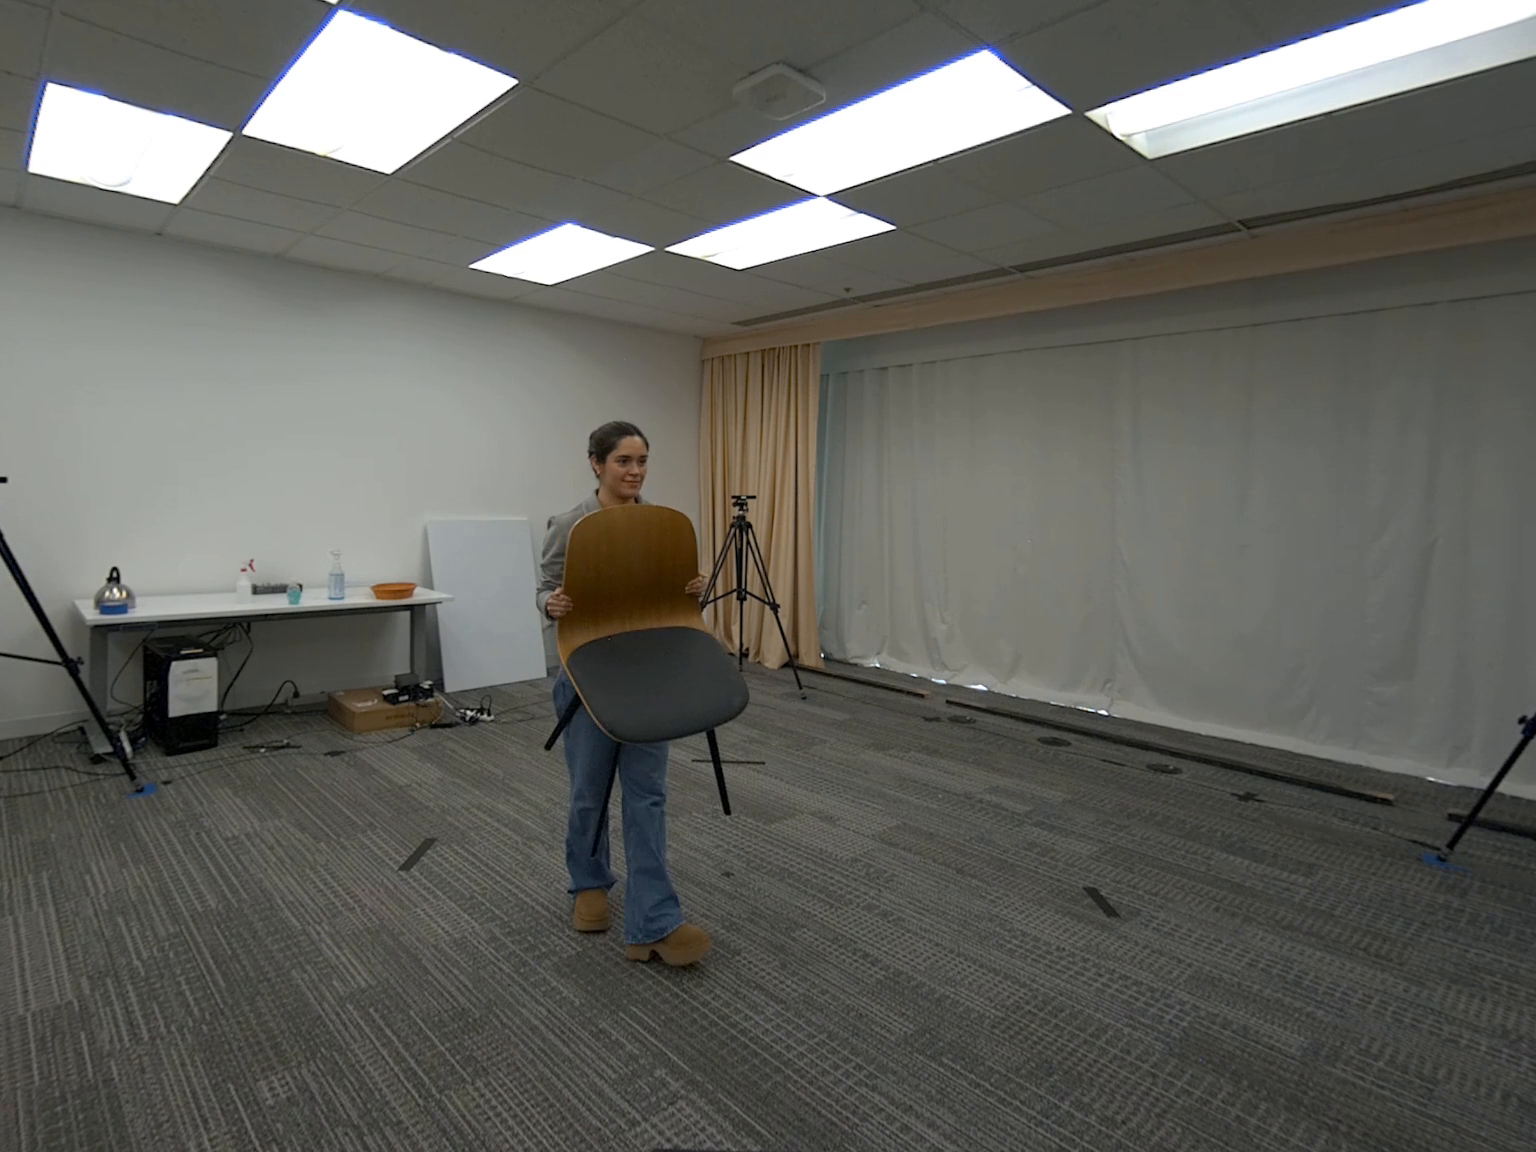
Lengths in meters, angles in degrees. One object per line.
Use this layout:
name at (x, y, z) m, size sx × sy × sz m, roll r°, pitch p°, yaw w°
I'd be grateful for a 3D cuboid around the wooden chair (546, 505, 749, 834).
wooden chair at (-0.339, 0.297, 2.430) m, size 0.469 × 0.865 × 0.540 m, roll -8°, pitch 31°, yaw -30°
